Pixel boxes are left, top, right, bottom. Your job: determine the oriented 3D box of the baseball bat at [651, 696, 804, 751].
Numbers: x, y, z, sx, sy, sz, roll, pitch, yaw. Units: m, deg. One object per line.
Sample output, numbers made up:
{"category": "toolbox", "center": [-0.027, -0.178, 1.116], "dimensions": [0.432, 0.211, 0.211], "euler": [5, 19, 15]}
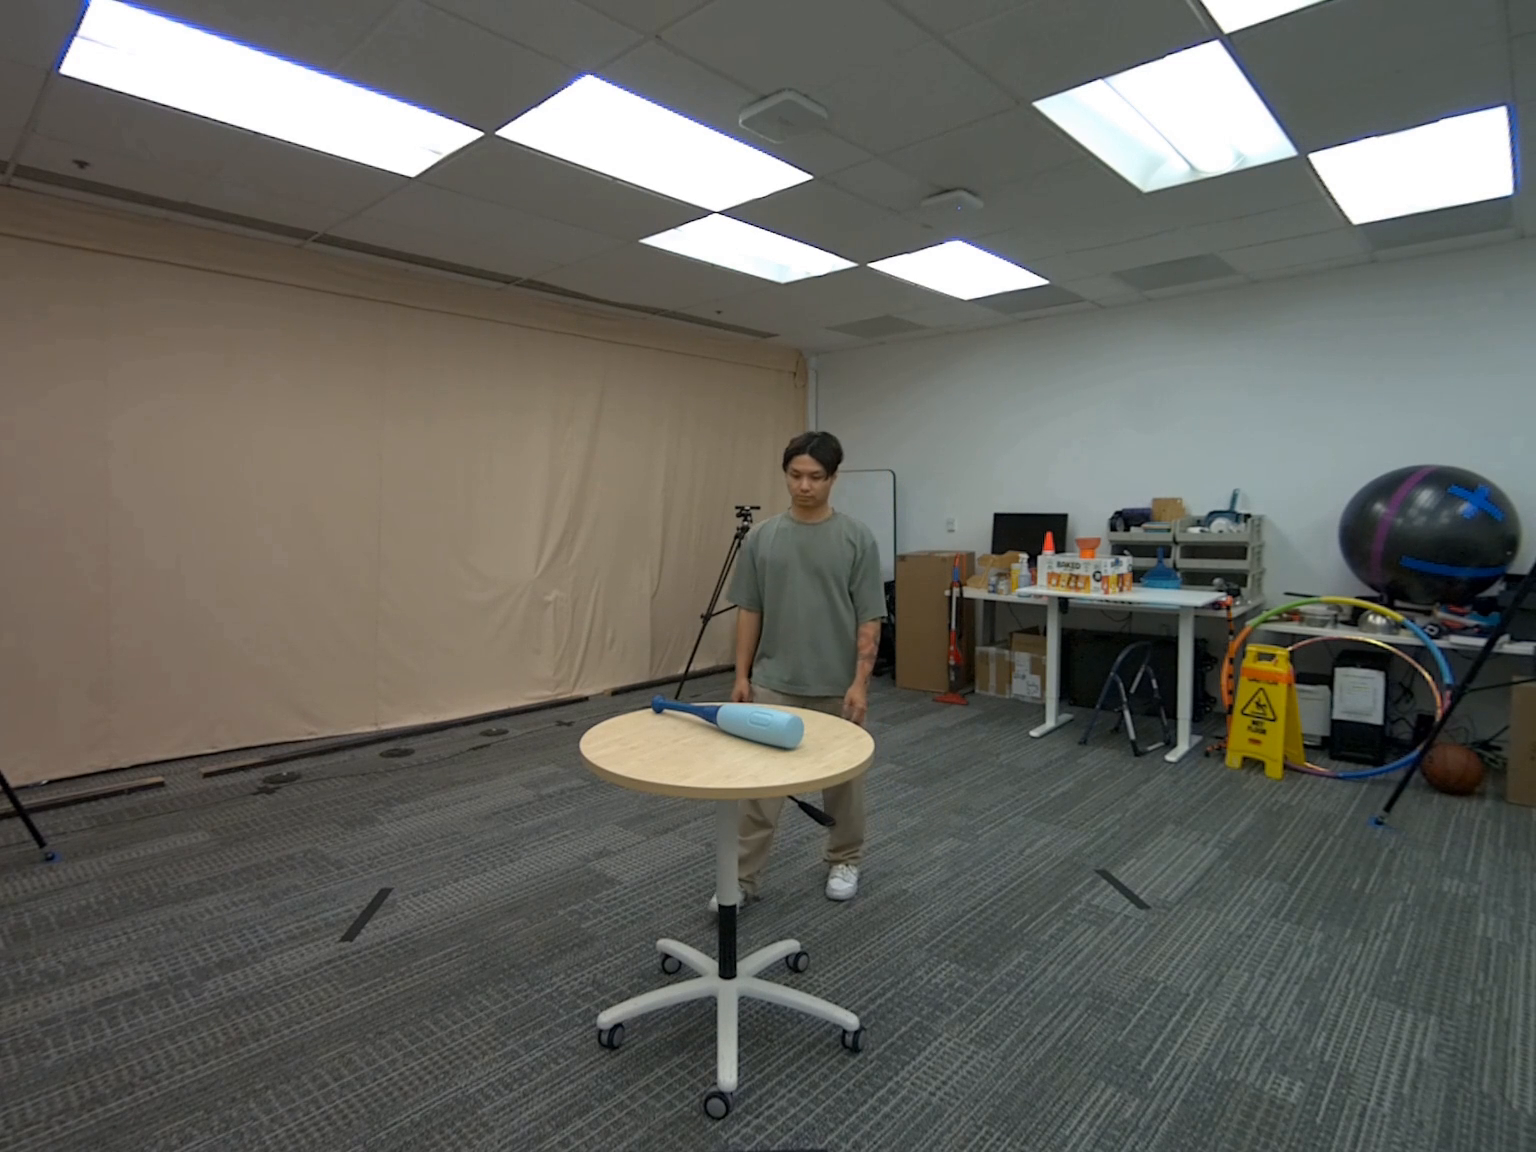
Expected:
{"category": "baseball bat", "center": [-0.121, 0.379, 2.294], "dimensions": [0.561, 0.089, 0.086], "euler": [2, 4, 43]}
